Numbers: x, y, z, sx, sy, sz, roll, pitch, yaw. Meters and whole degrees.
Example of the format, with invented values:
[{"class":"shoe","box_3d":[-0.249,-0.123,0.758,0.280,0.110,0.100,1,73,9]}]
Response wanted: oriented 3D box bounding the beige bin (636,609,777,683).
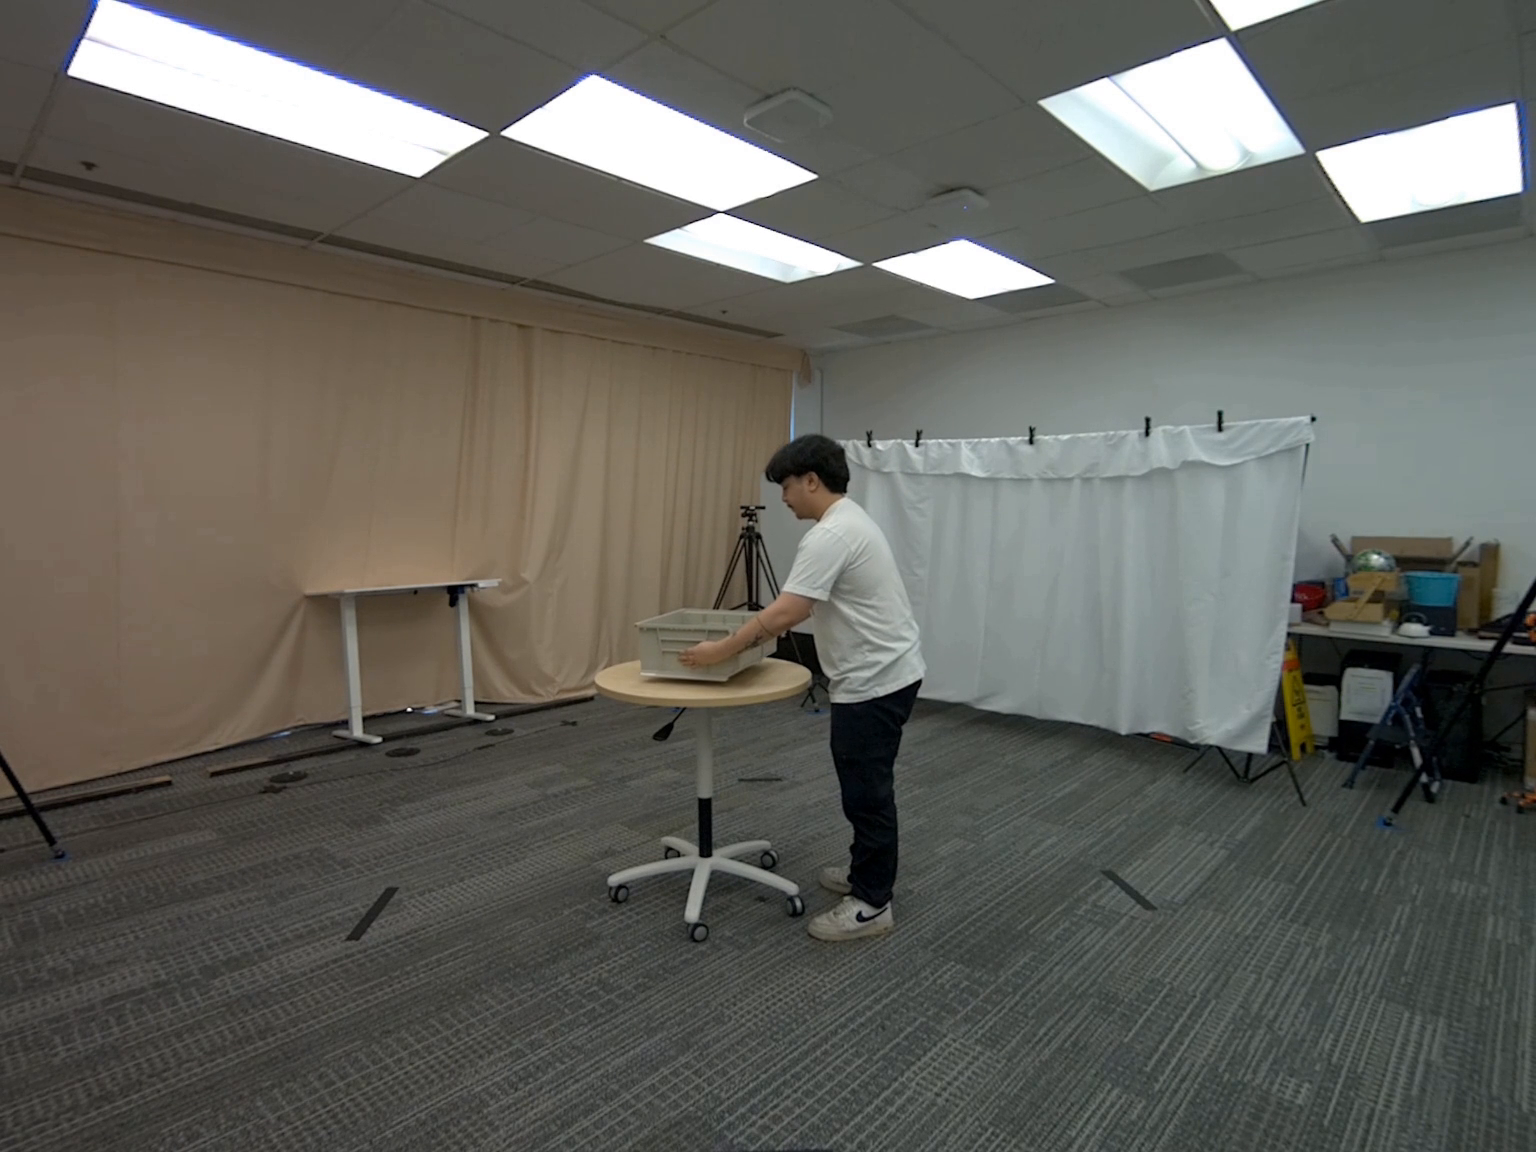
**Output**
[{"class":"beige bin","box_3d":[-0.214,0.242,2.988,0.385,0.188,0.415,0,5,19]}]
